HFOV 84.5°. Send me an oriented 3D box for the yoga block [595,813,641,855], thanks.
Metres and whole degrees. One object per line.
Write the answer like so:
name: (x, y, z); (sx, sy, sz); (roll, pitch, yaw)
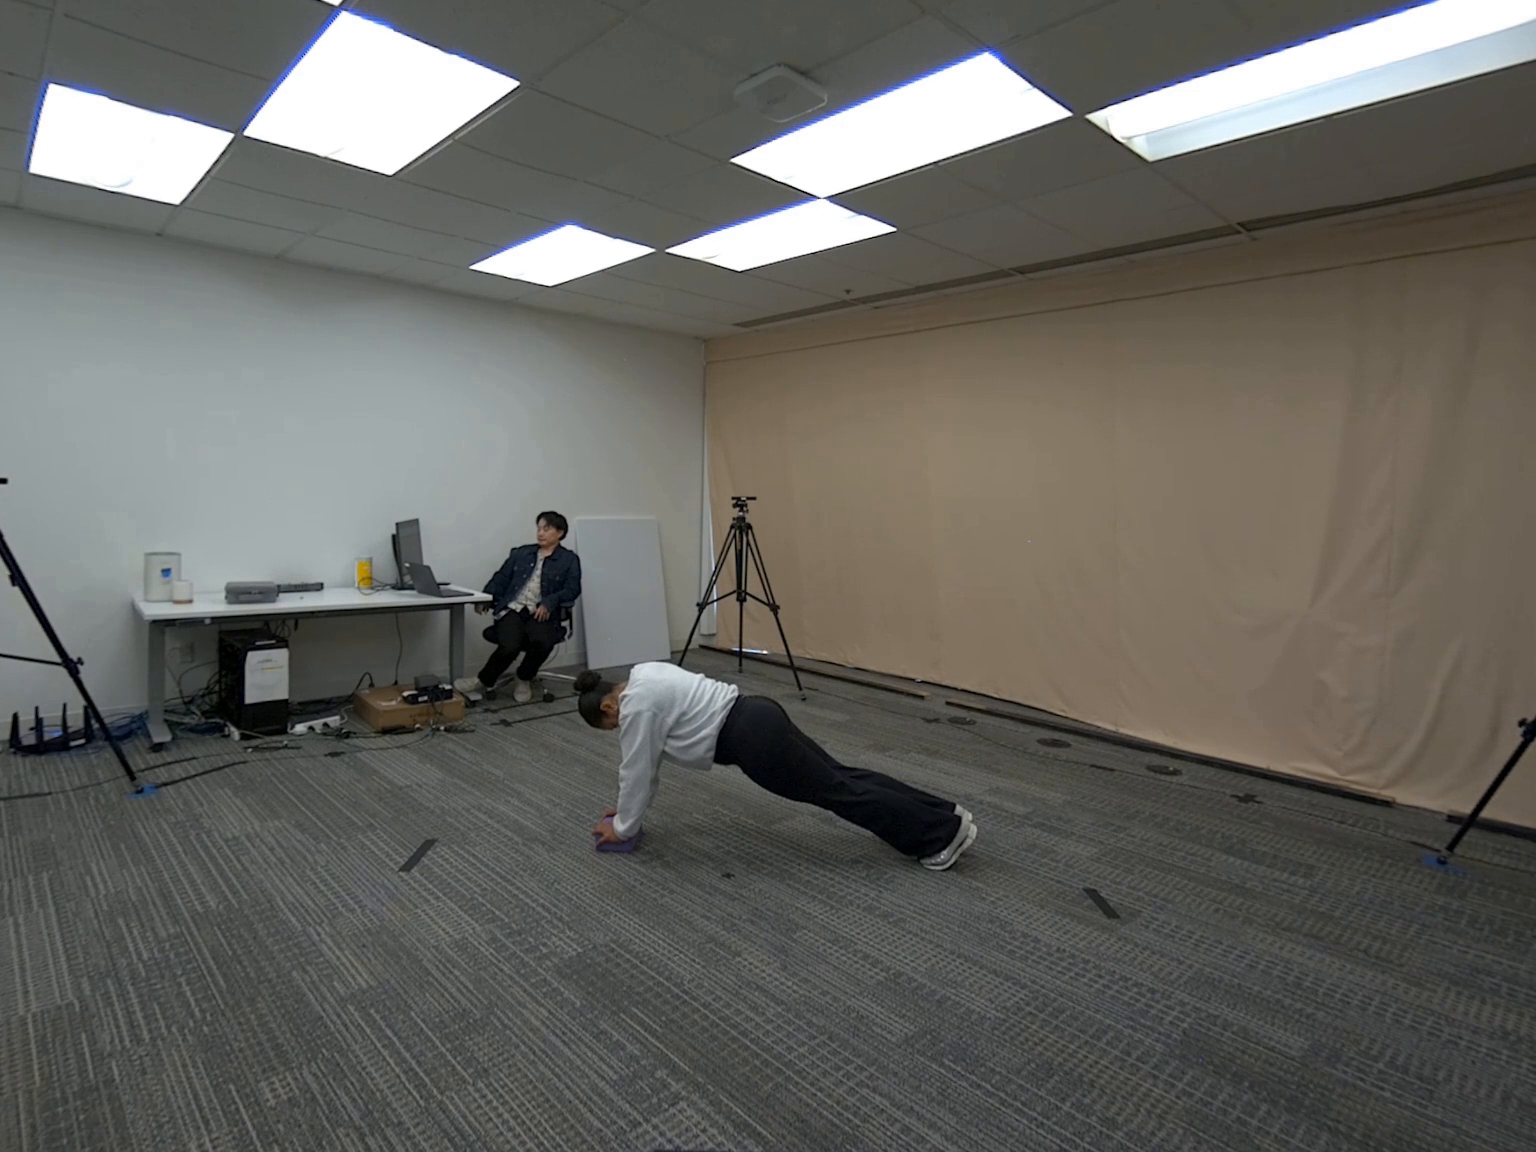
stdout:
yoga block: (-0.604, 1.020, 3.402); (0.149, 0.076, 0.230); (-1, 8, 3)
